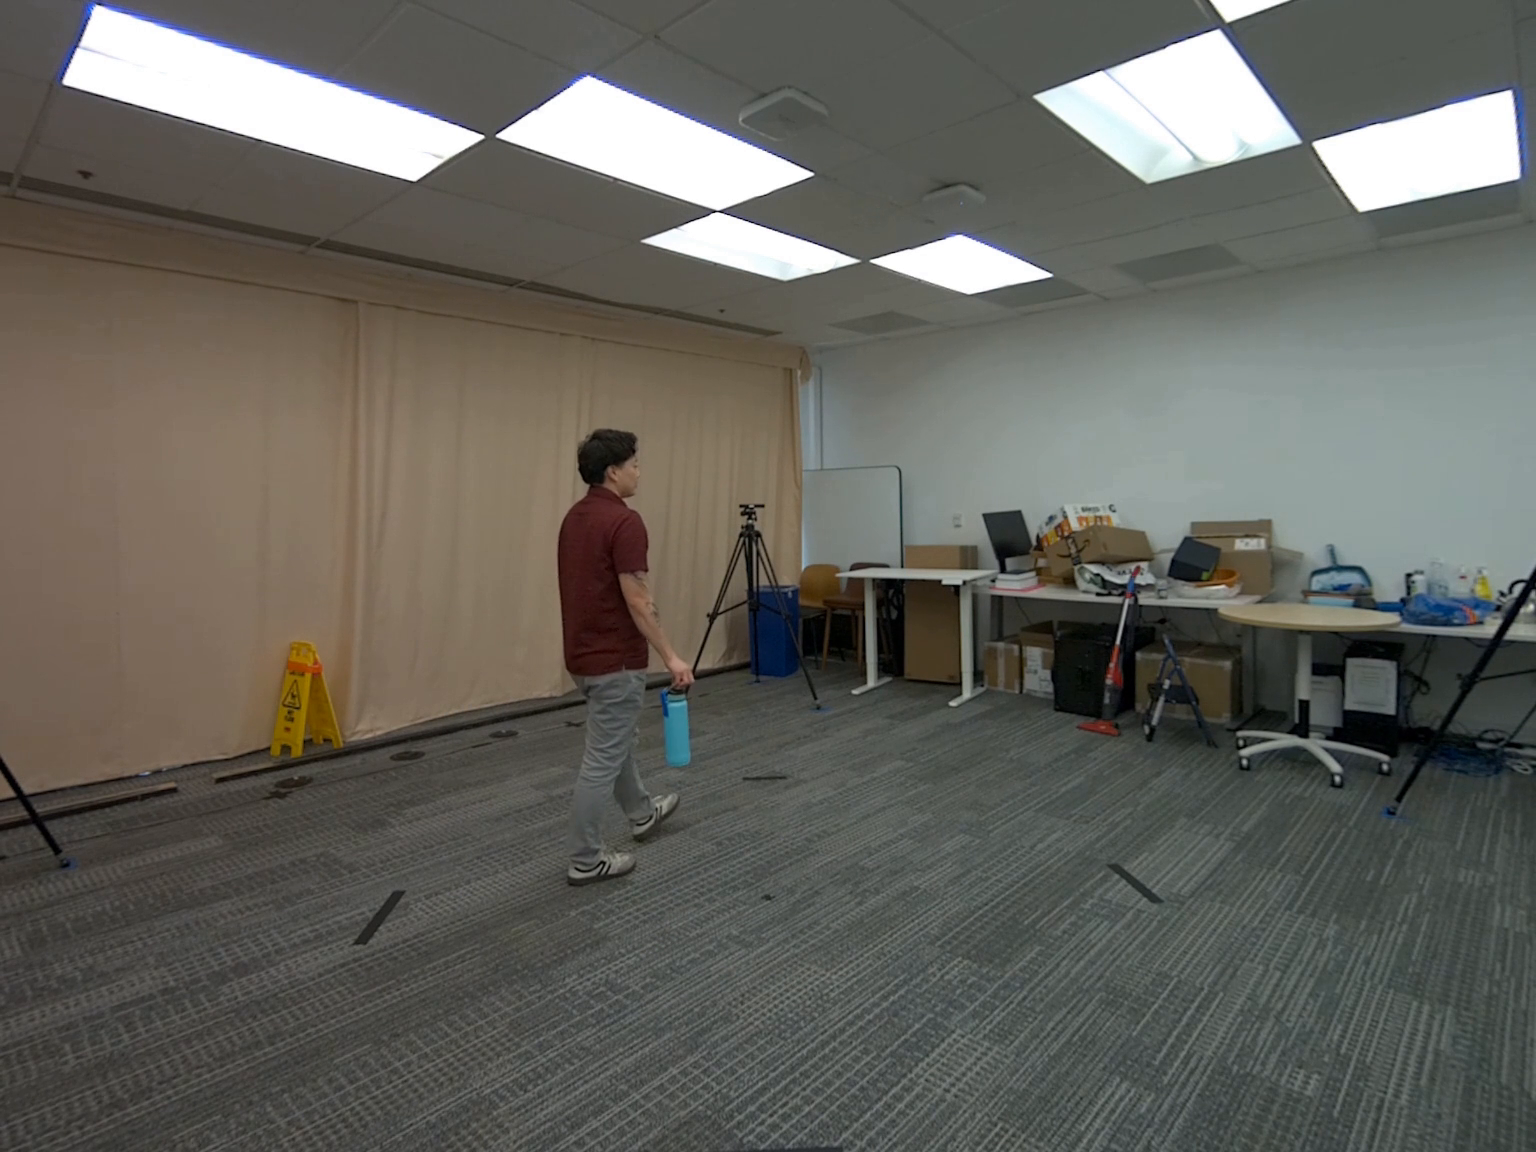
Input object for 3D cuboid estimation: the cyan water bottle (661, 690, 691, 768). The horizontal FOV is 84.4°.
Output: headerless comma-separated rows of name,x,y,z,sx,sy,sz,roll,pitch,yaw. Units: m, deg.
cyan water bottle,-0.333,0.533,3.032,0.092,0.282,0.093,-2,5,-2
